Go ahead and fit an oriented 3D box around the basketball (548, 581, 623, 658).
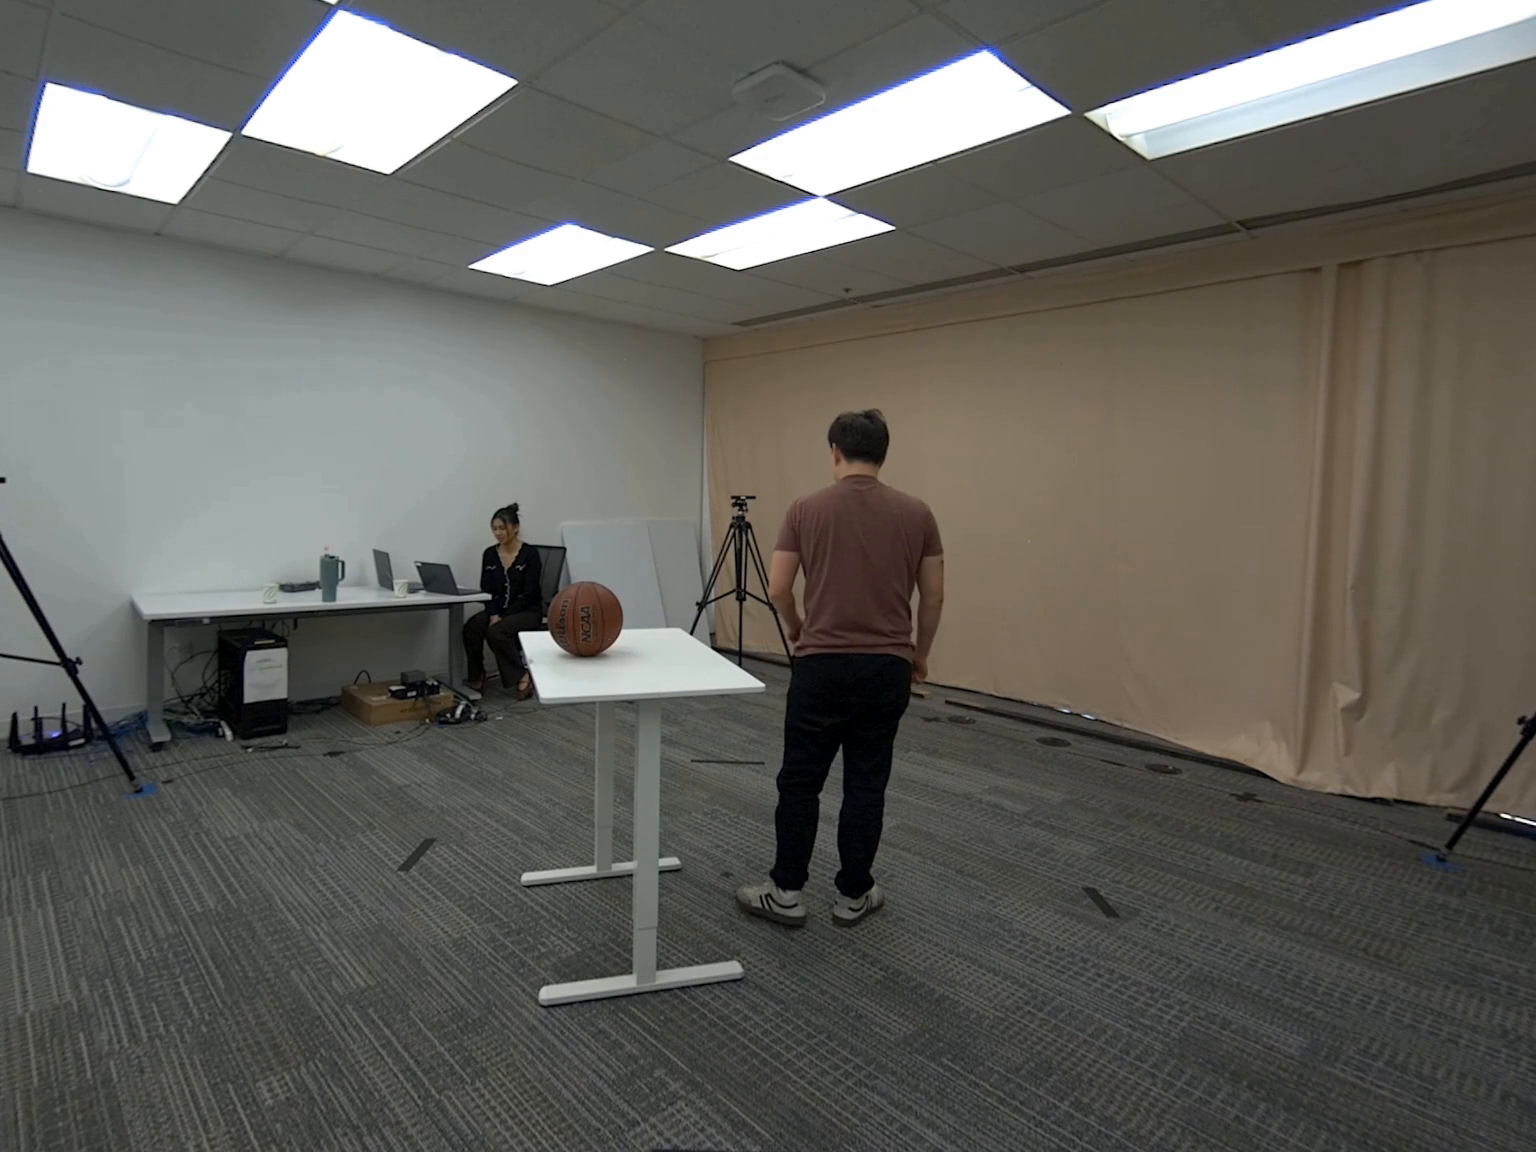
[{"bbox_3d":[-0.583,0.134,2.668,0.236,0.235,0.237,1,4,-1],"label":"basketball"}]
